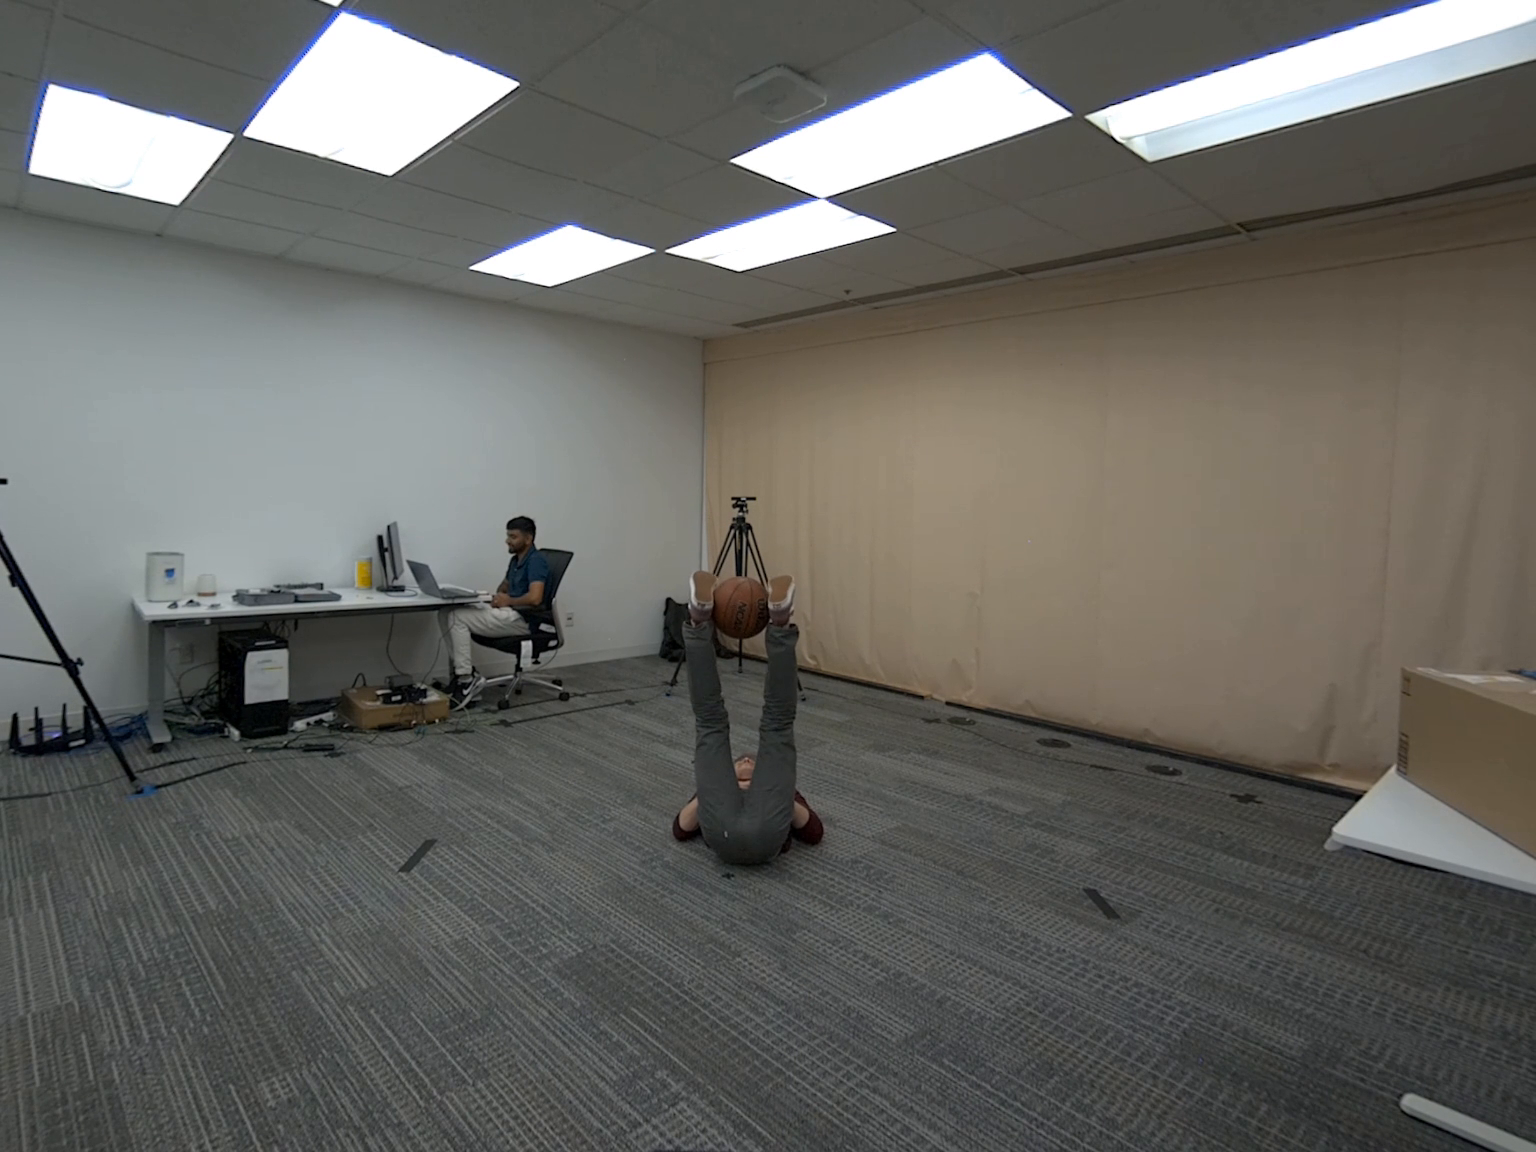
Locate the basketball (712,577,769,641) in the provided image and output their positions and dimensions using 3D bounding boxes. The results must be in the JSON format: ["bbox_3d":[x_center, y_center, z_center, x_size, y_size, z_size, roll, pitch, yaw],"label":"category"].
[{"bbox_3d":[-0.113,0.125,3.204,0.236,0.234,0.237,0,7,-1],"label":"basketball"}]
